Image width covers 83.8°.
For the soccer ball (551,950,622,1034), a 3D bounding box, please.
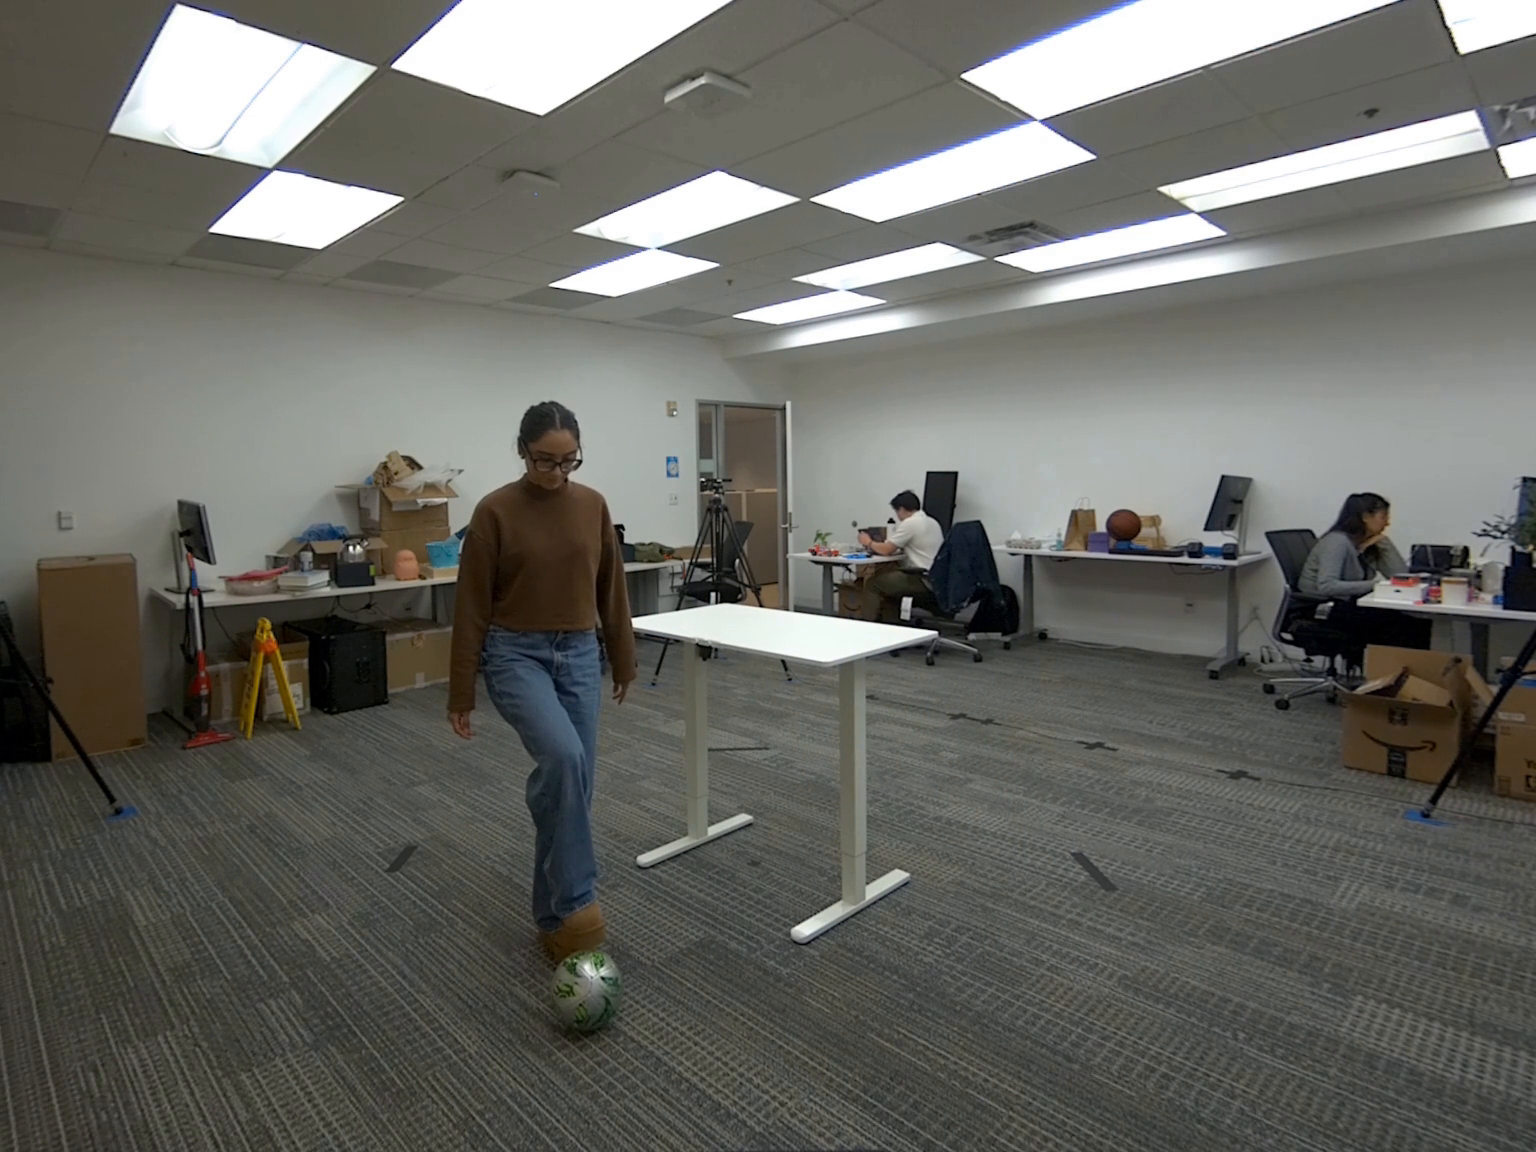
[{"bbox_3d":[-0.457,1.070,2.198,0.187,0.187,0.188,-1,5,-2],"label":"soccer ball"}]
